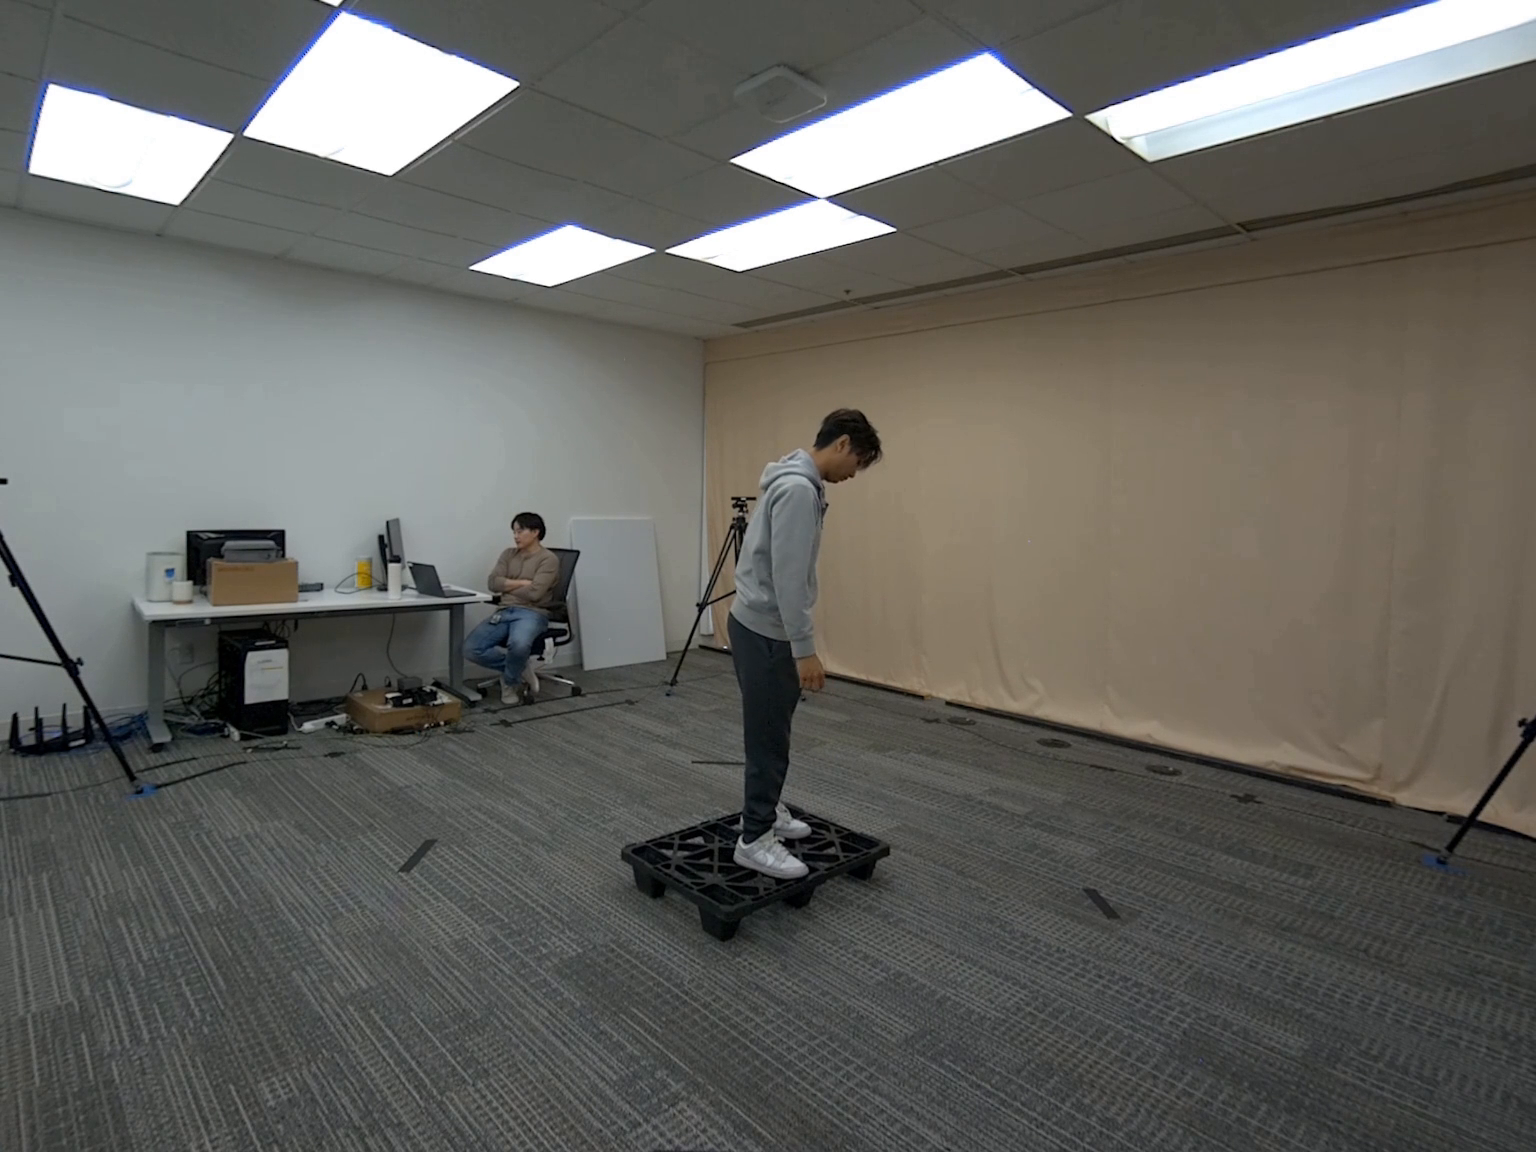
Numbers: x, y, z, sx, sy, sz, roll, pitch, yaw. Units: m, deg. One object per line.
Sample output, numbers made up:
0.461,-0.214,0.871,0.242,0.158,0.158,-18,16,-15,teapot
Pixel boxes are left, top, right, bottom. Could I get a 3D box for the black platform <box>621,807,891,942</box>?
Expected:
-0.050,1.045,3.048,0.787,0.143,0.620,-3,6,-42,black platform
